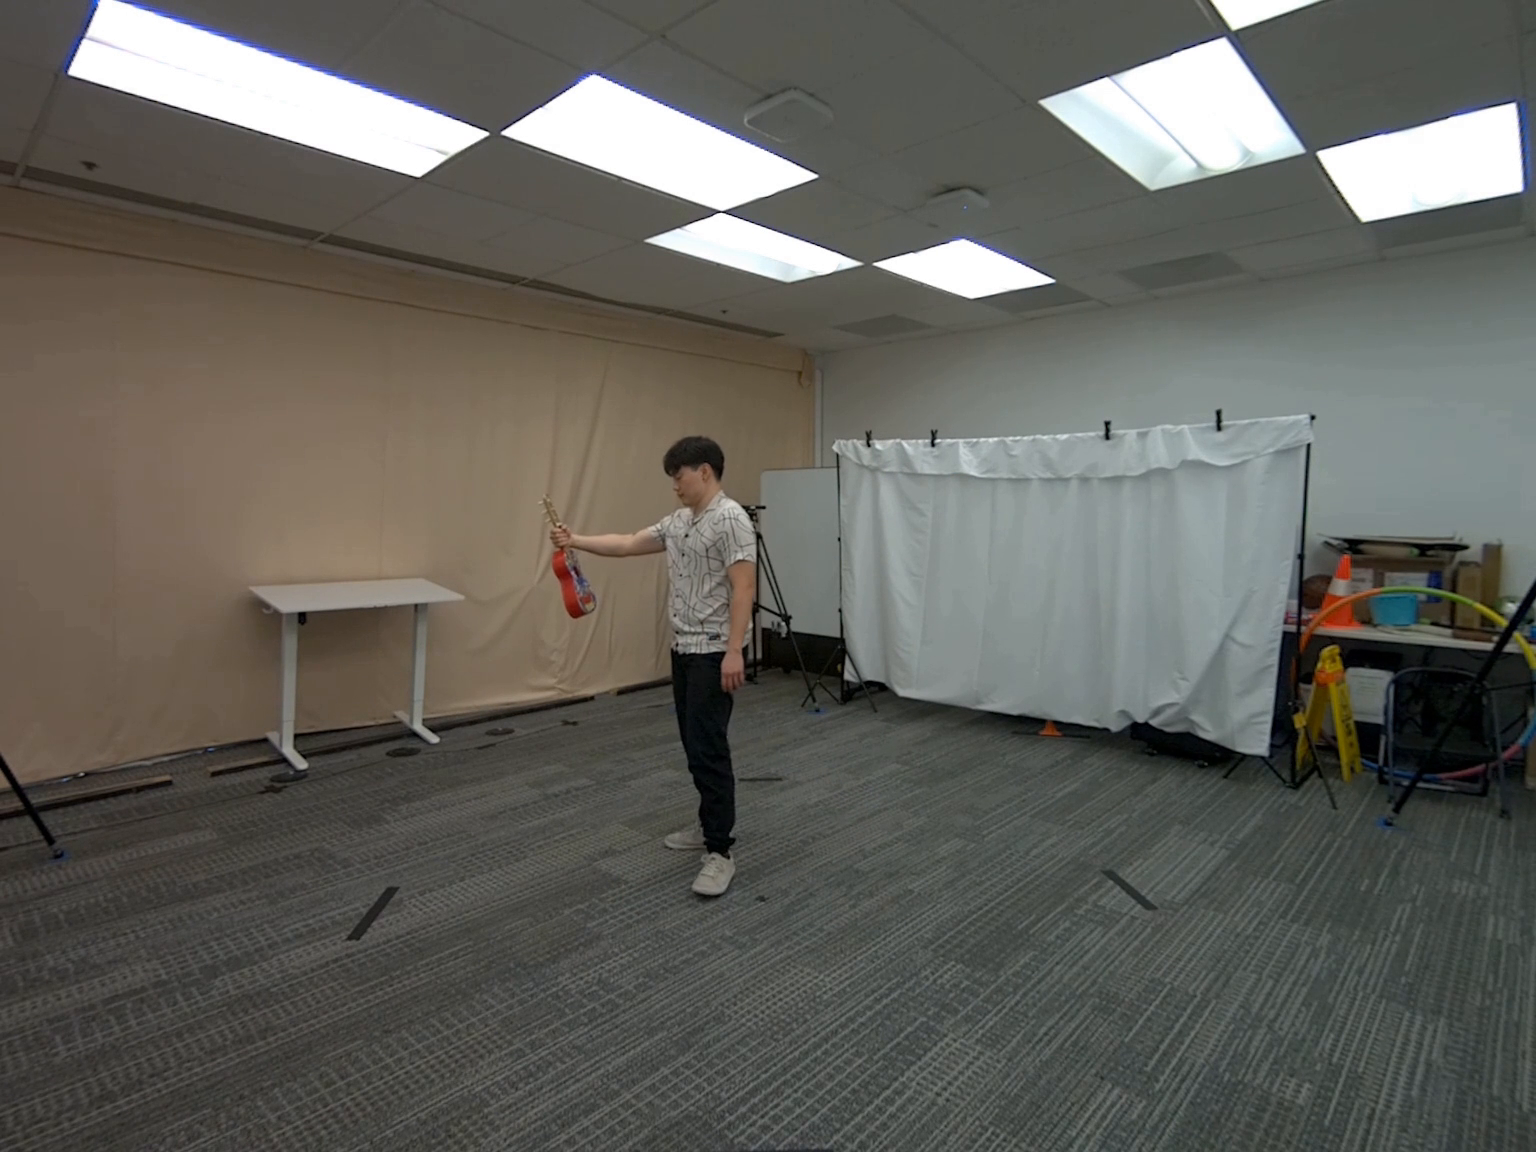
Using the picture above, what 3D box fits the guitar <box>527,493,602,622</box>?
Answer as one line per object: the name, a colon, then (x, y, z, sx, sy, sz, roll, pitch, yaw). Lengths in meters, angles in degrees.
guitar: (-0.803, -0.079, 3.349, 0.071, 0.500, 0.190, -19, -4, 11)
